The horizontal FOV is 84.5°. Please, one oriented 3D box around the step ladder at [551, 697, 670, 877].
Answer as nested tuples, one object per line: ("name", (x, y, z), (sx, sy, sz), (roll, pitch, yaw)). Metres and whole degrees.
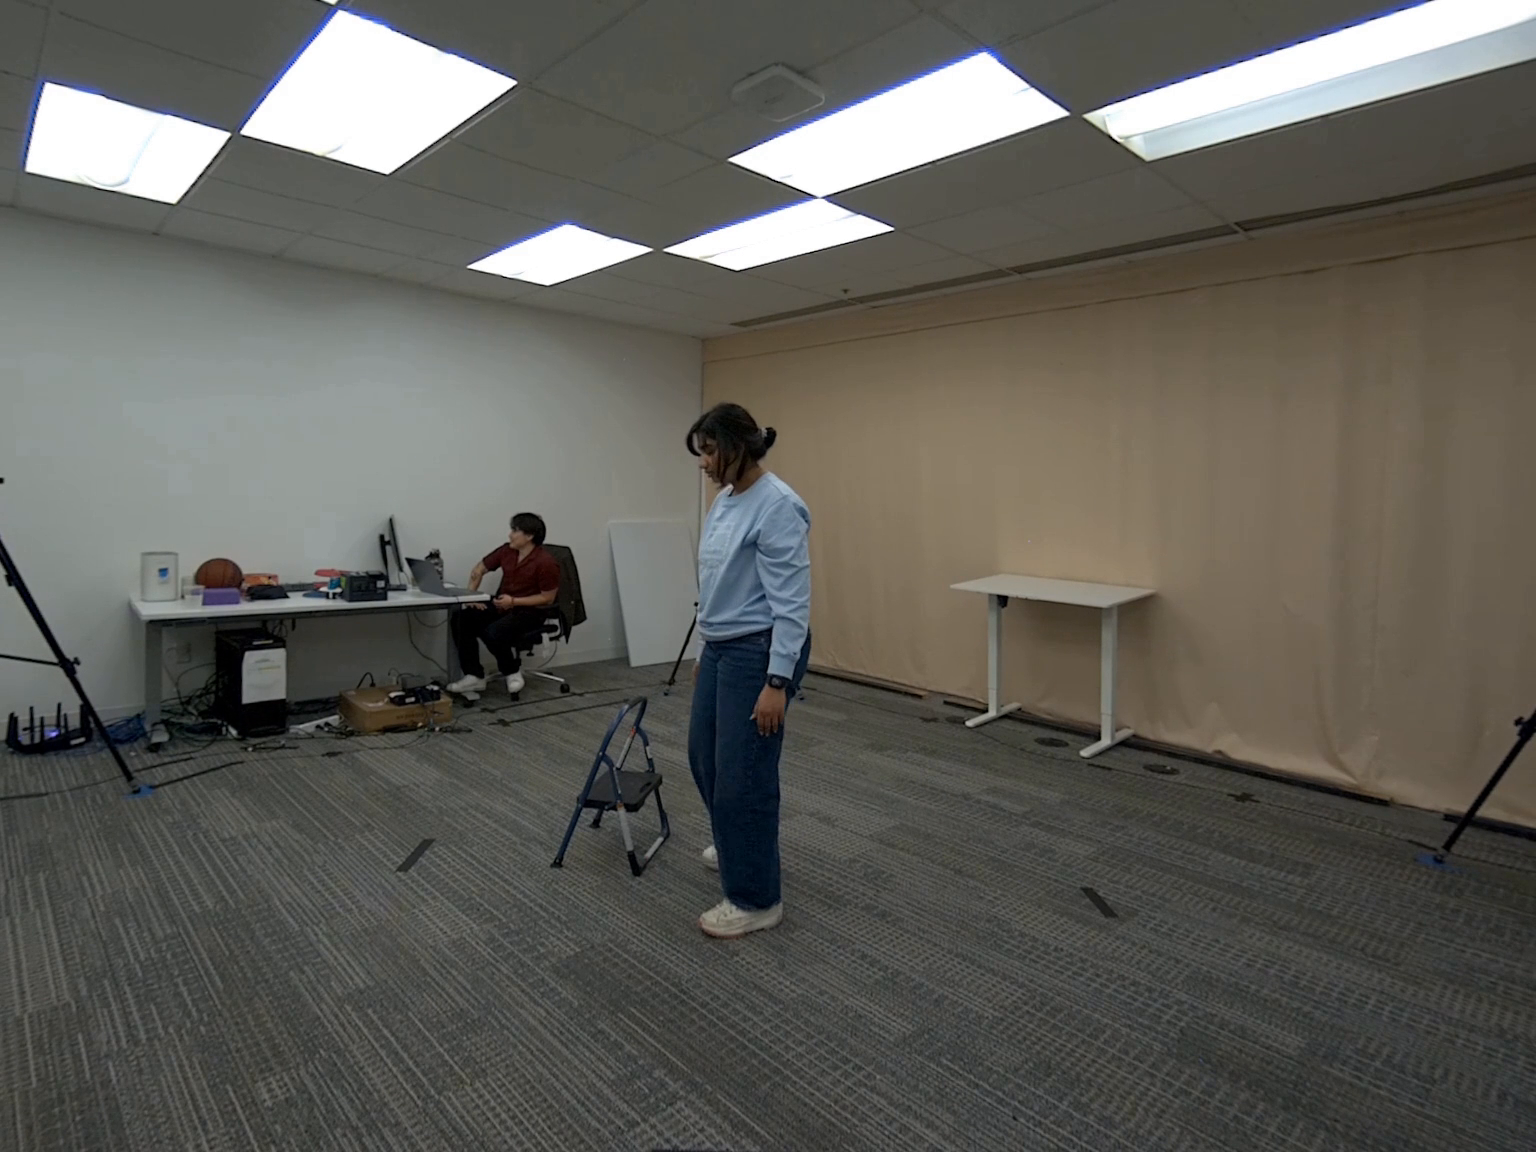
("step ladder", (-0.609, 0.779, 3.292), (0.352, 0.604, 0.428), (1, 4, 10))
